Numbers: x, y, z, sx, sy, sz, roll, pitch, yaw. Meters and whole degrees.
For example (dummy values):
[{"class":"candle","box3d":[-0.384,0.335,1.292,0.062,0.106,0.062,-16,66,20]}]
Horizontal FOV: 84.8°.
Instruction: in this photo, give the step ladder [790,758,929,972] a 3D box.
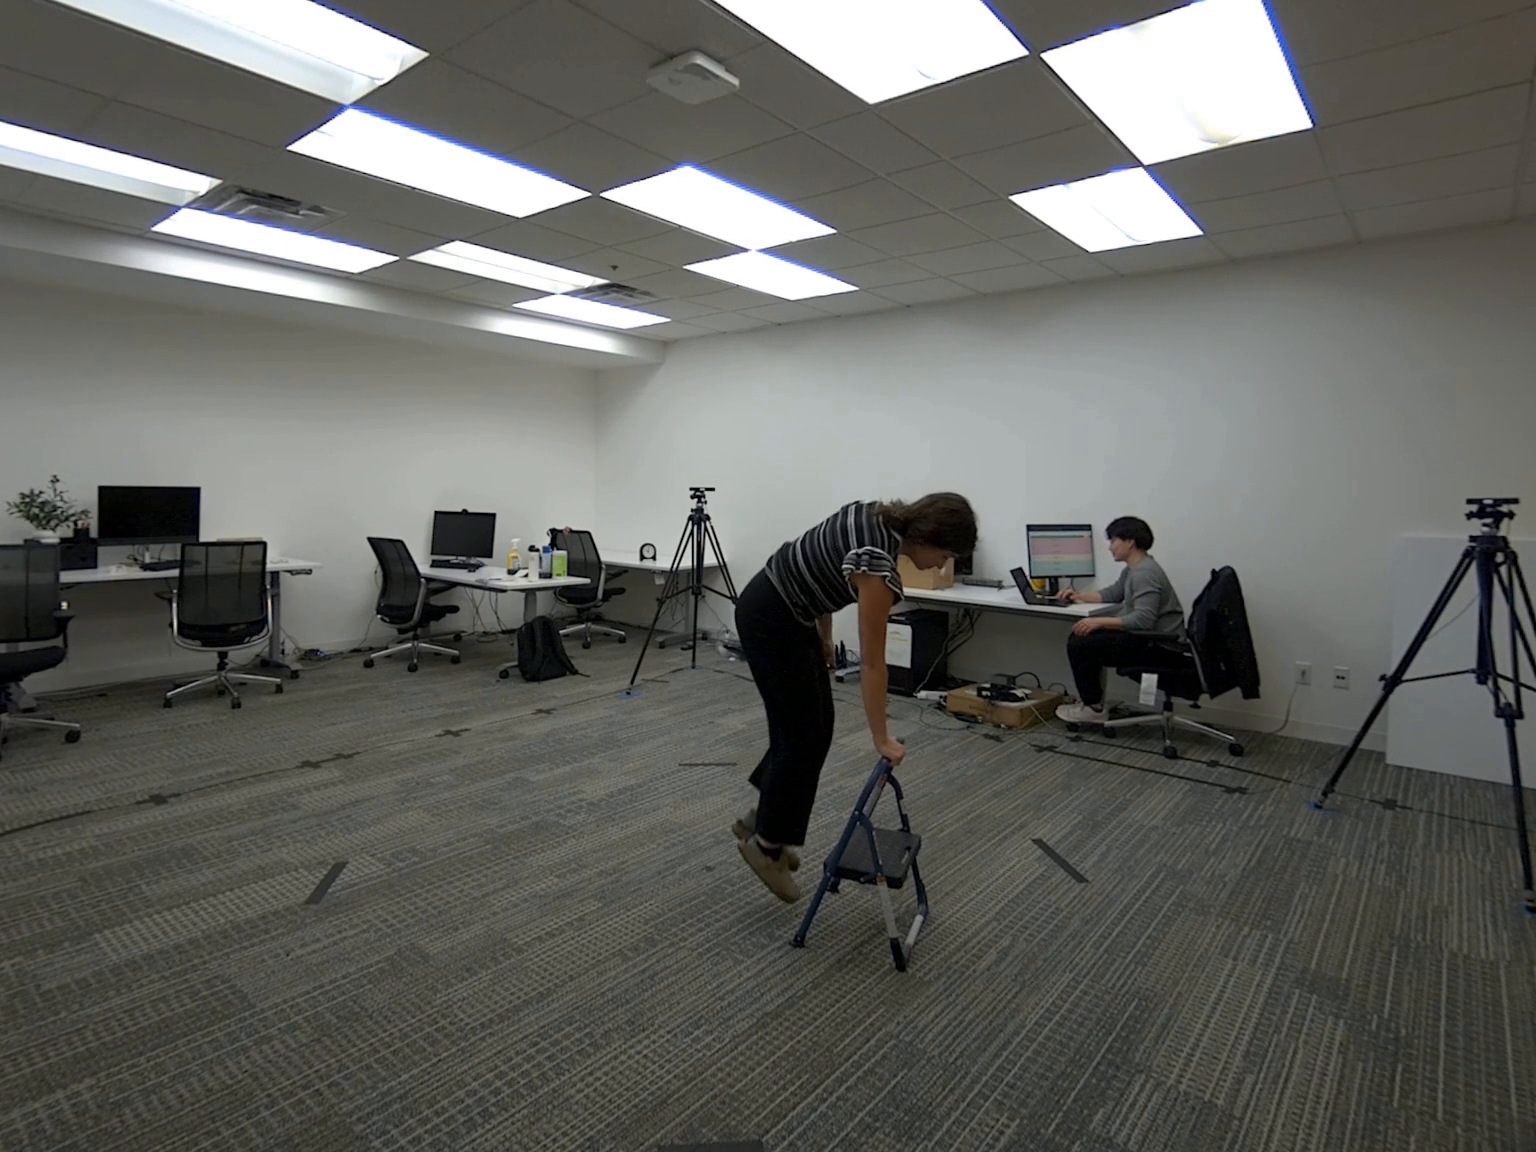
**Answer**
[{"class":"step ladder","box3d":[0.306,0.817,2.702,0.357,0.604,0.422,3,4,21]}]
